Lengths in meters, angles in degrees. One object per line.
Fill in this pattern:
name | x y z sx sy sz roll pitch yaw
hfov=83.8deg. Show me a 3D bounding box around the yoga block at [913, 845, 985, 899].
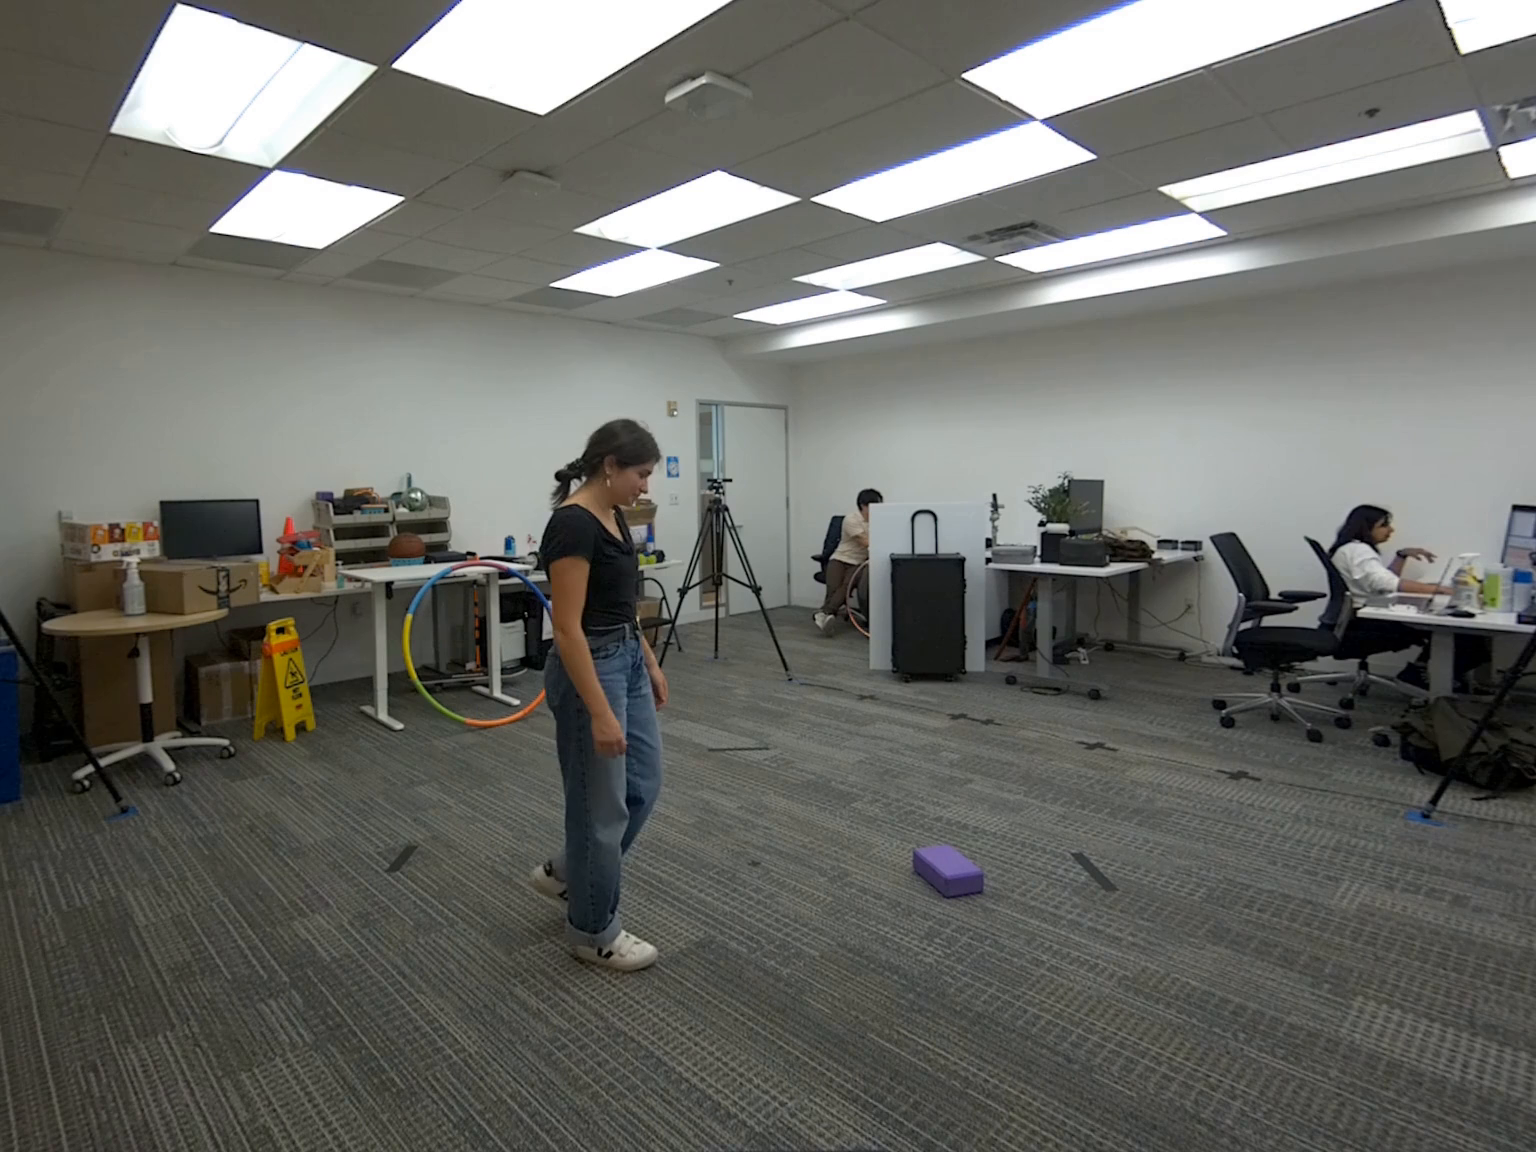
yoga block | 0.621 1.013 2.947 0.147 0.076 0.234 -3 6 -18
